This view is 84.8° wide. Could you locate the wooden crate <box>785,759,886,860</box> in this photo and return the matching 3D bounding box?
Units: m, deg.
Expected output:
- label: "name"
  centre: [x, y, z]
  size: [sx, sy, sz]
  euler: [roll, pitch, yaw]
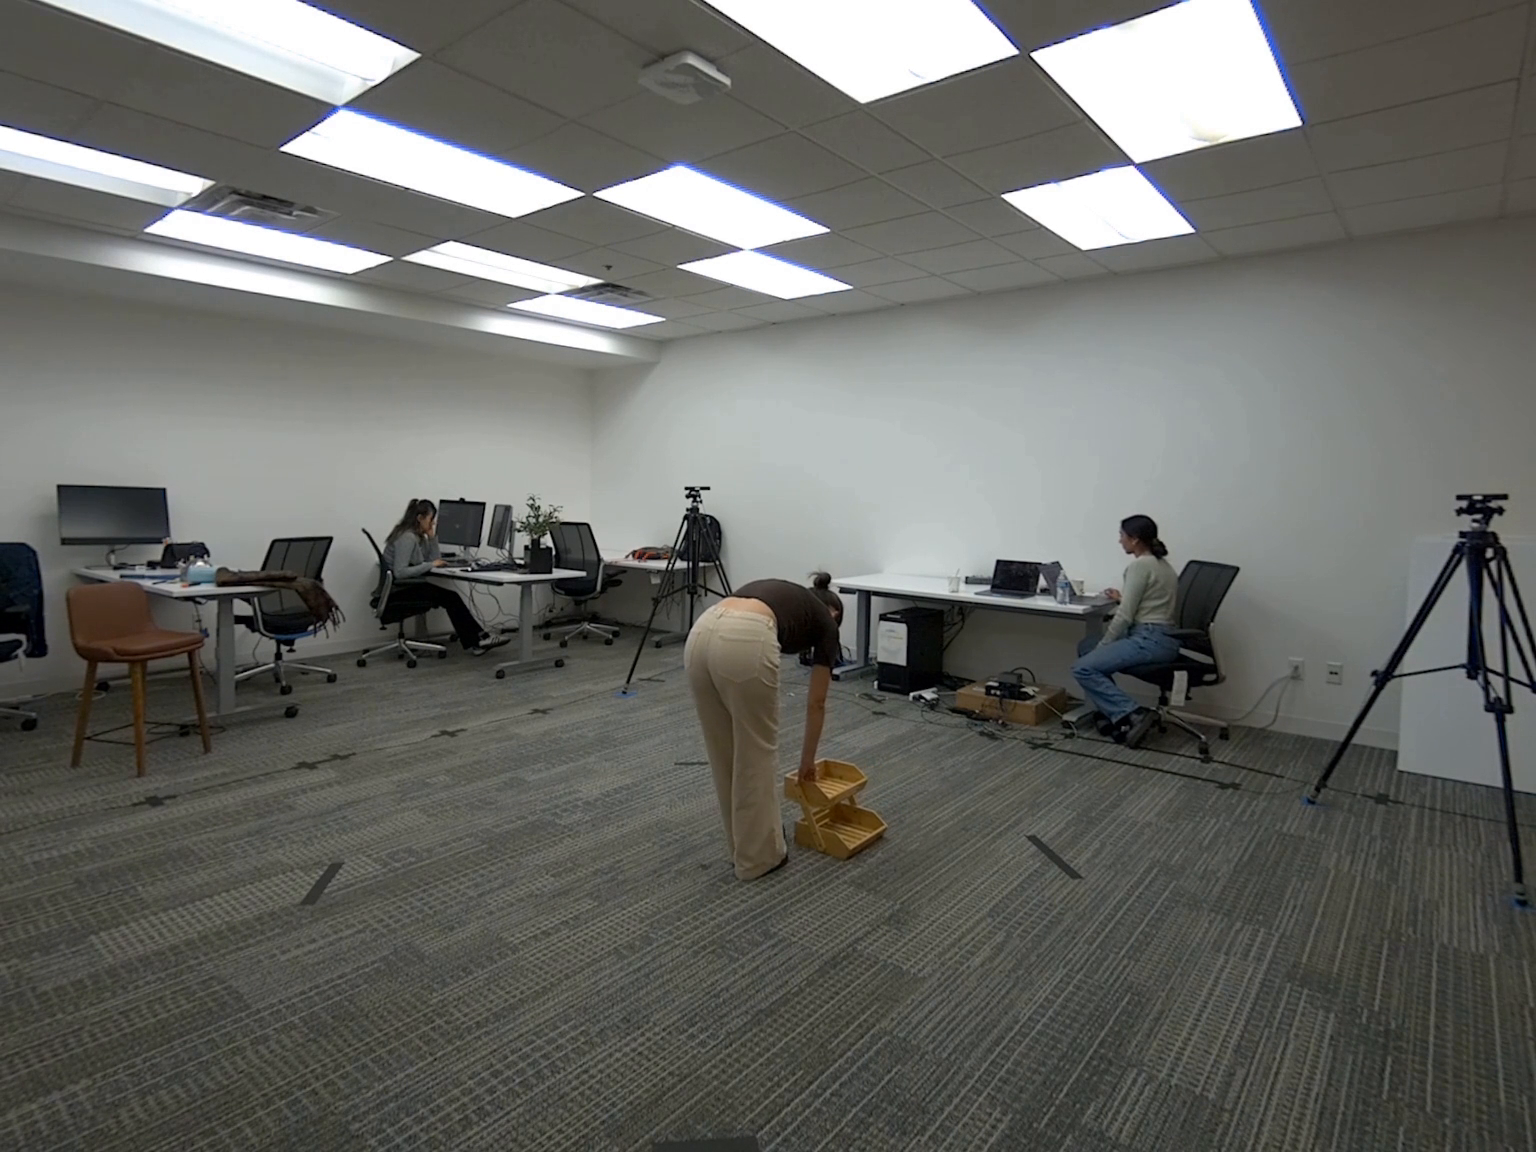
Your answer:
- label: "wooden crate"
  centre: [0.266, 0.909, 3.385]
  size: [0.312, 0.272, 0.315]
  euler: [3, 5, 37]
